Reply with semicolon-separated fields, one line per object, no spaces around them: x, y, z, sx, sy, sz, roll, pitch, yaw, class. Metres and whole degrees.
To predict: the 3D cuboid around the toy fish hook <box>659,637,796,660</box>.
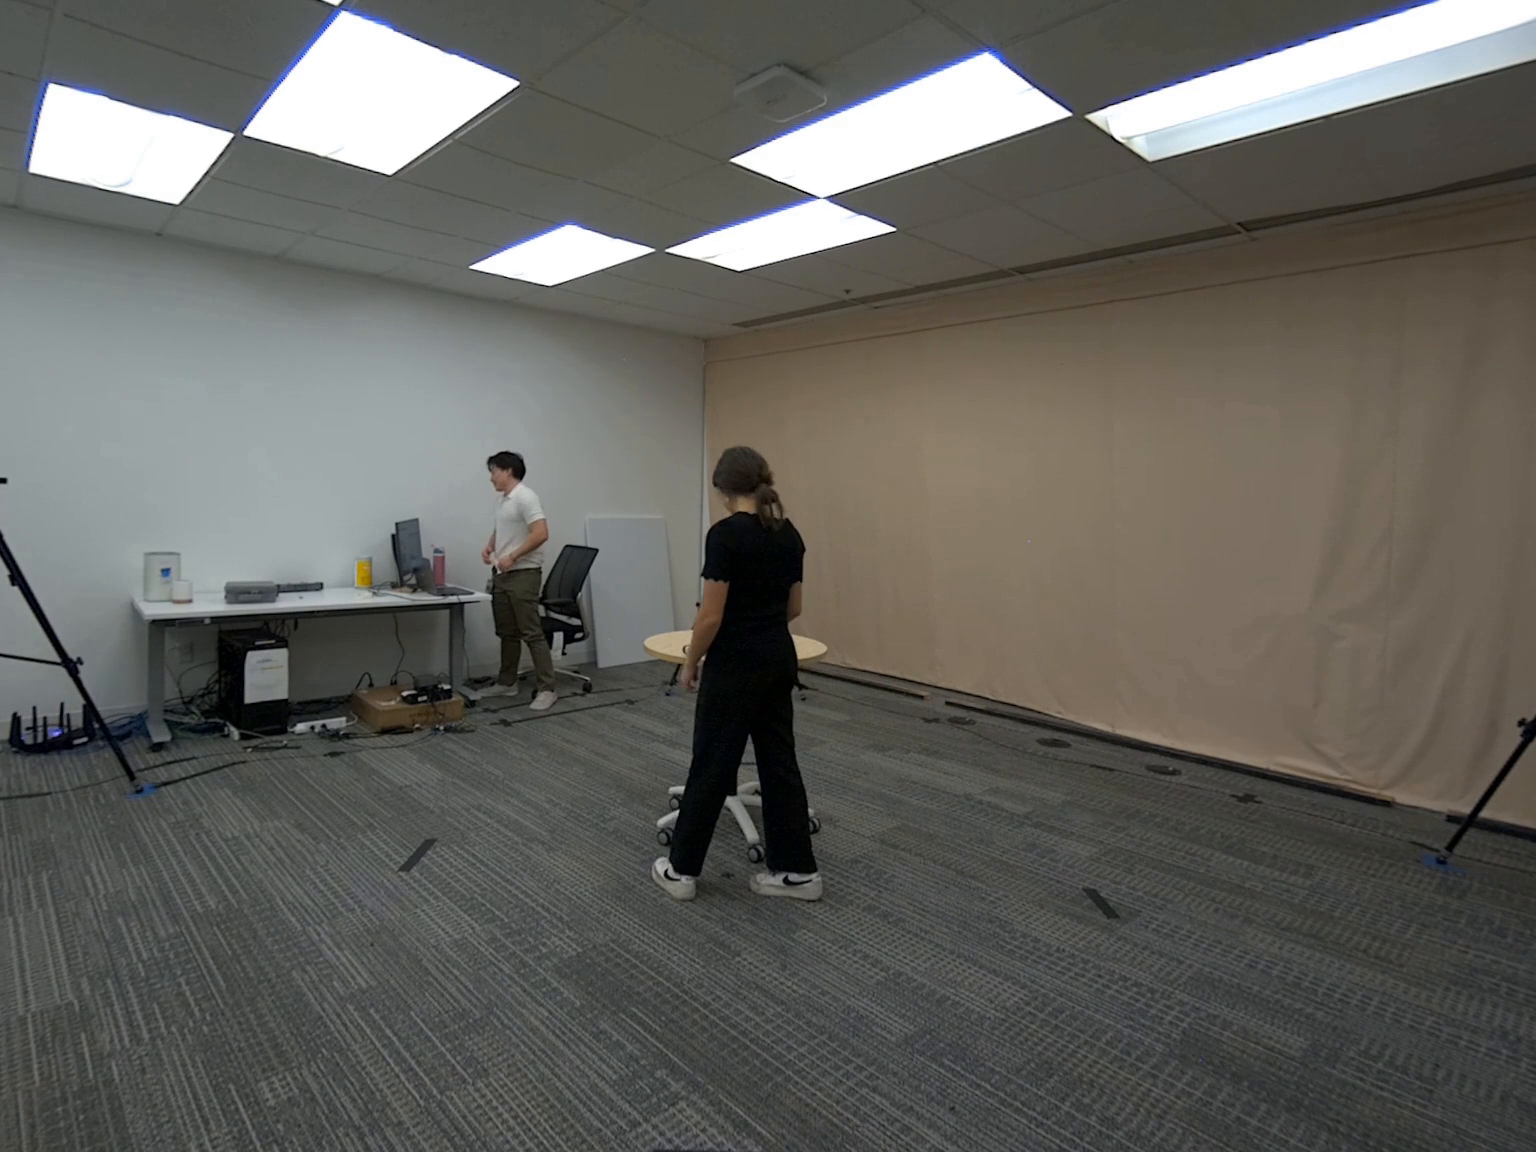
-0.162;0.288;3.415;0.495;0.048;0.229;-2;-3;-35;toy fish hook
